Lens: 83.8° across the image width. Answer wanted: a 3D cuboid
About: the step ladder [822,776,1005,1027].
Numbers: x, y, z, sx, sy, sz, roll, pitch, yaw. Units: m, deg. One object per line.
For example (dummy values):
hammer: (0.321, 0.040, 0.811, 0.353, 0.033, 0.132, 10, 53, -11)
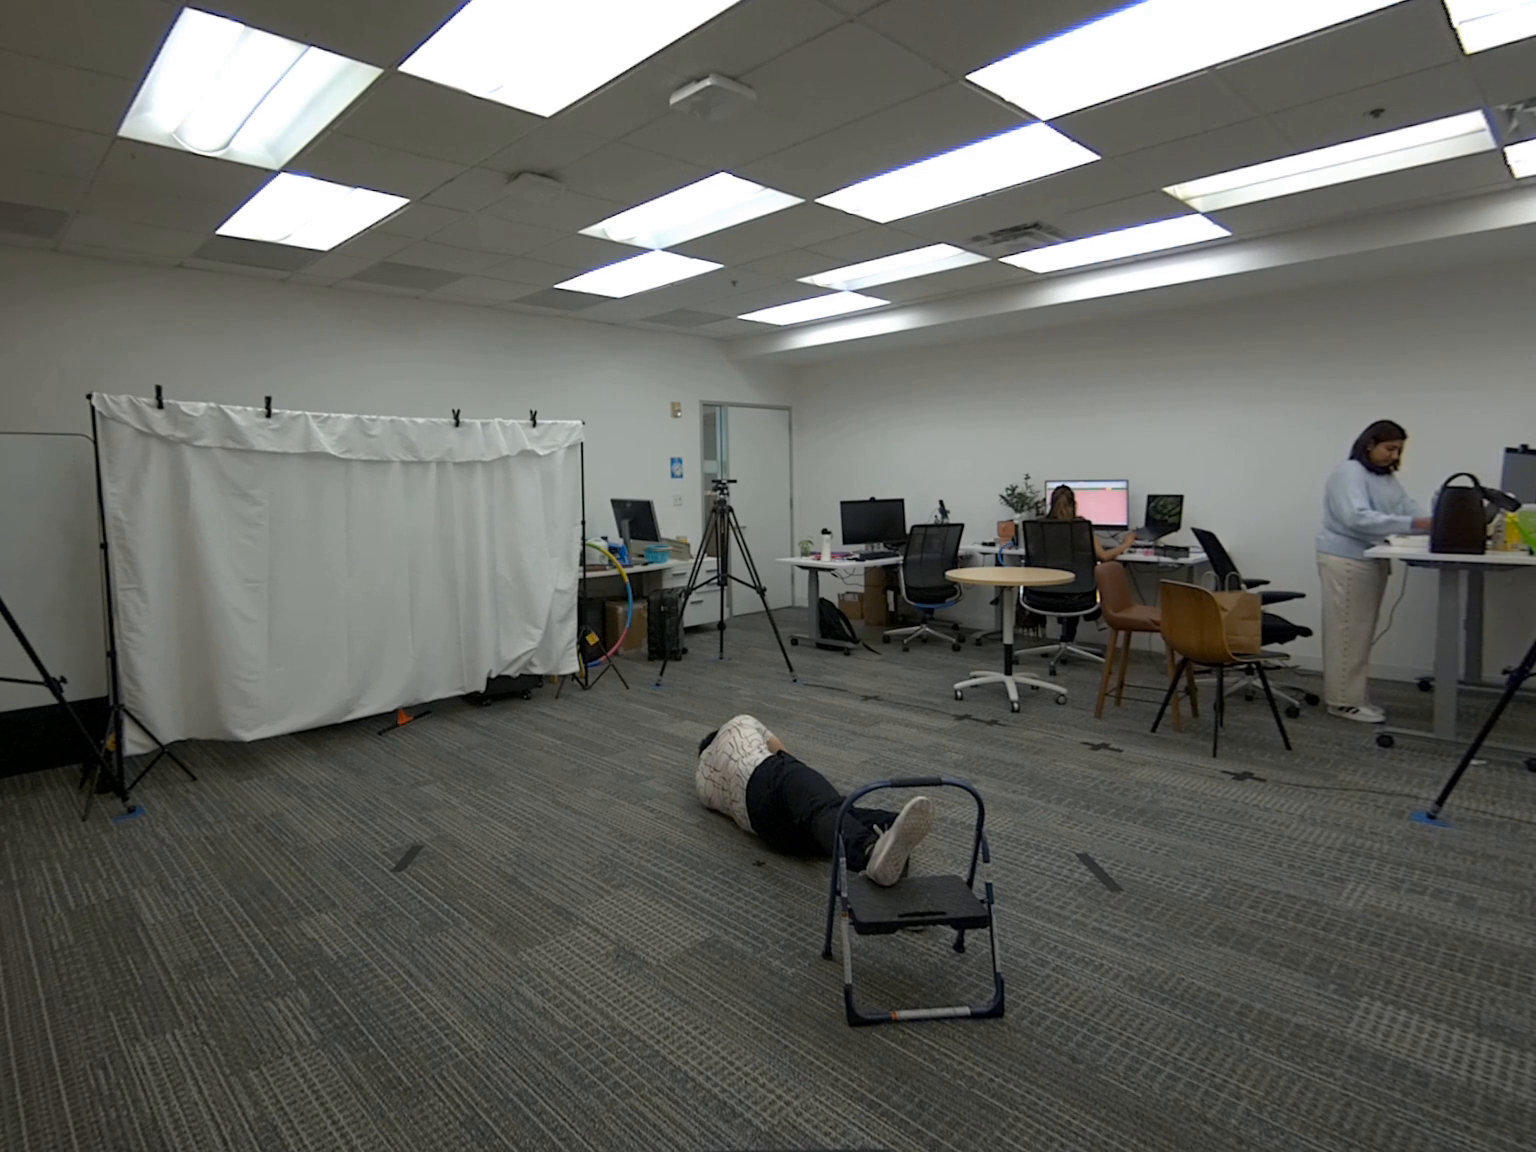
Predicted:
step ladder: (0.390, 0.830, 2.337, 0.428, 0.604, 0.352, -2, 4, -6)
